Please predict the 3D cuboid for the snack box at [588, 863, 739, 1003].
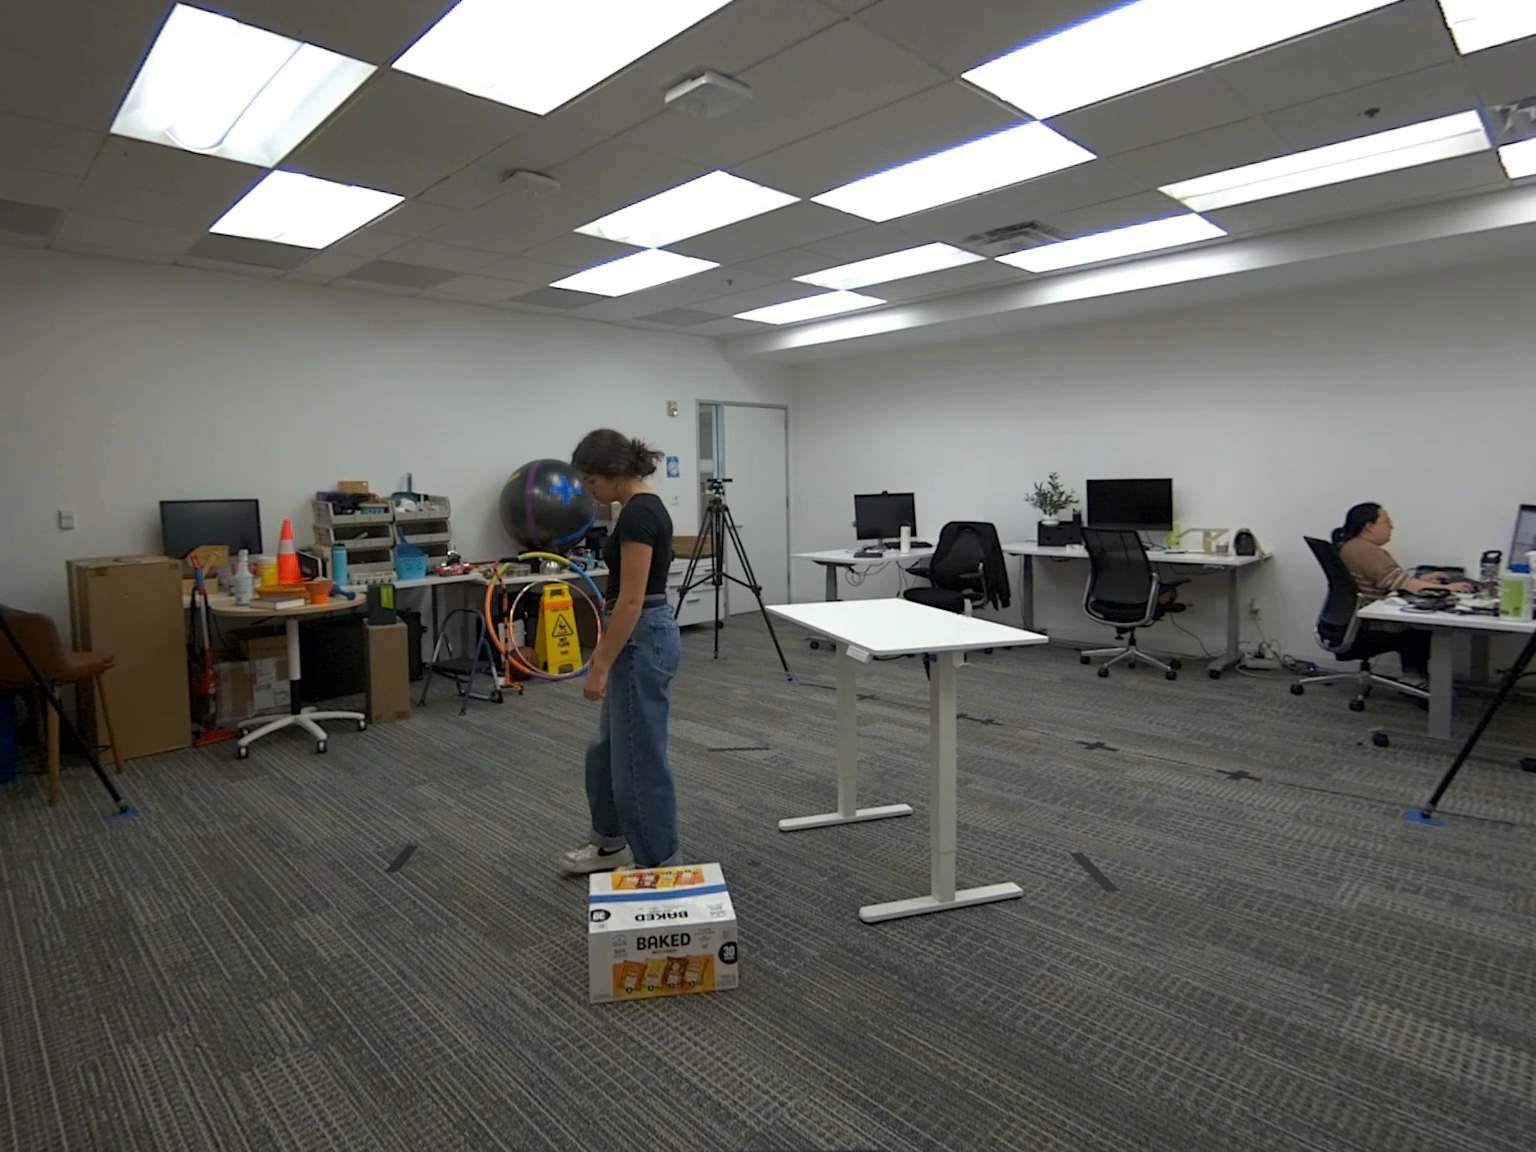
[{"bbox_3d":[-0.308,1.023,2.472,0.402,0.205,0.345,-2,6,-10],"label":"snack box"}]
